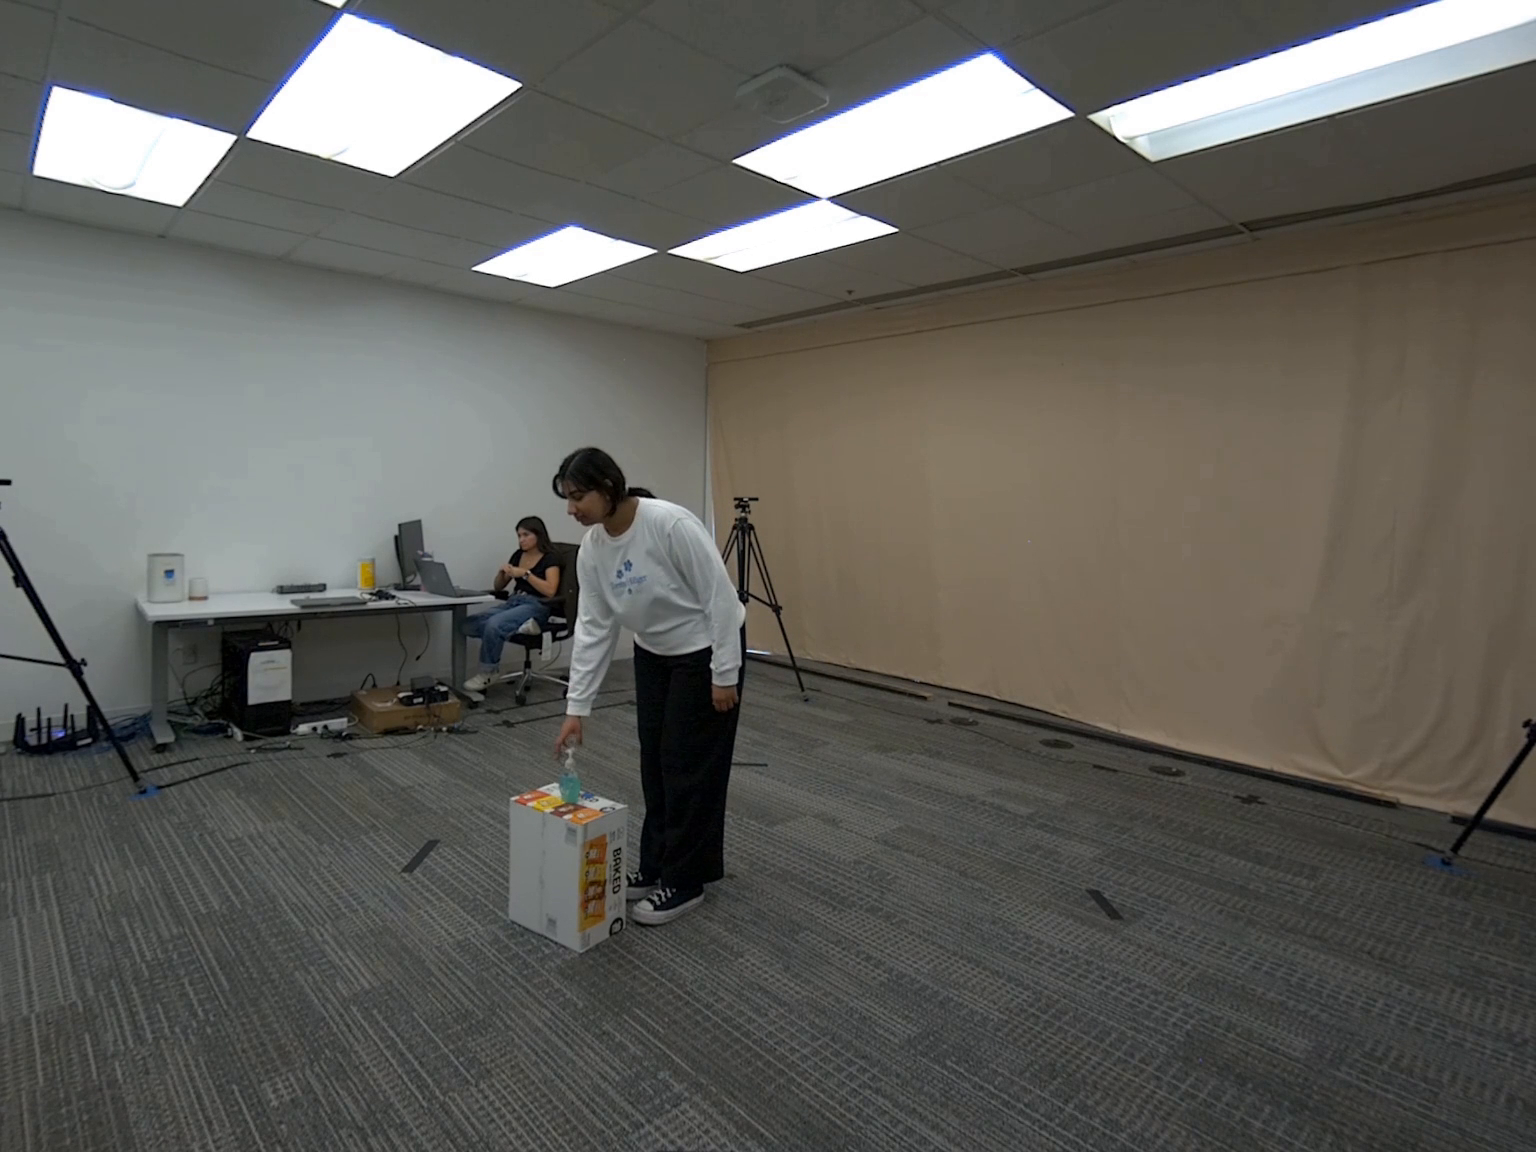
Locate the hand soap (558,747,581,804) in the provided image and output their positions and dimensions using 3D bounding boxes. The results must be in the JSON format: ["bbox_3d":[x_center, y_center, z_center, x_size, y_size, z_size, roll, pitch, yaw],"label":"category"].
[{"bbox_3d":[-0.638,0.644,2.727,0.086,0.168,0.042,7,4,33],"label":"hand soap"}]
